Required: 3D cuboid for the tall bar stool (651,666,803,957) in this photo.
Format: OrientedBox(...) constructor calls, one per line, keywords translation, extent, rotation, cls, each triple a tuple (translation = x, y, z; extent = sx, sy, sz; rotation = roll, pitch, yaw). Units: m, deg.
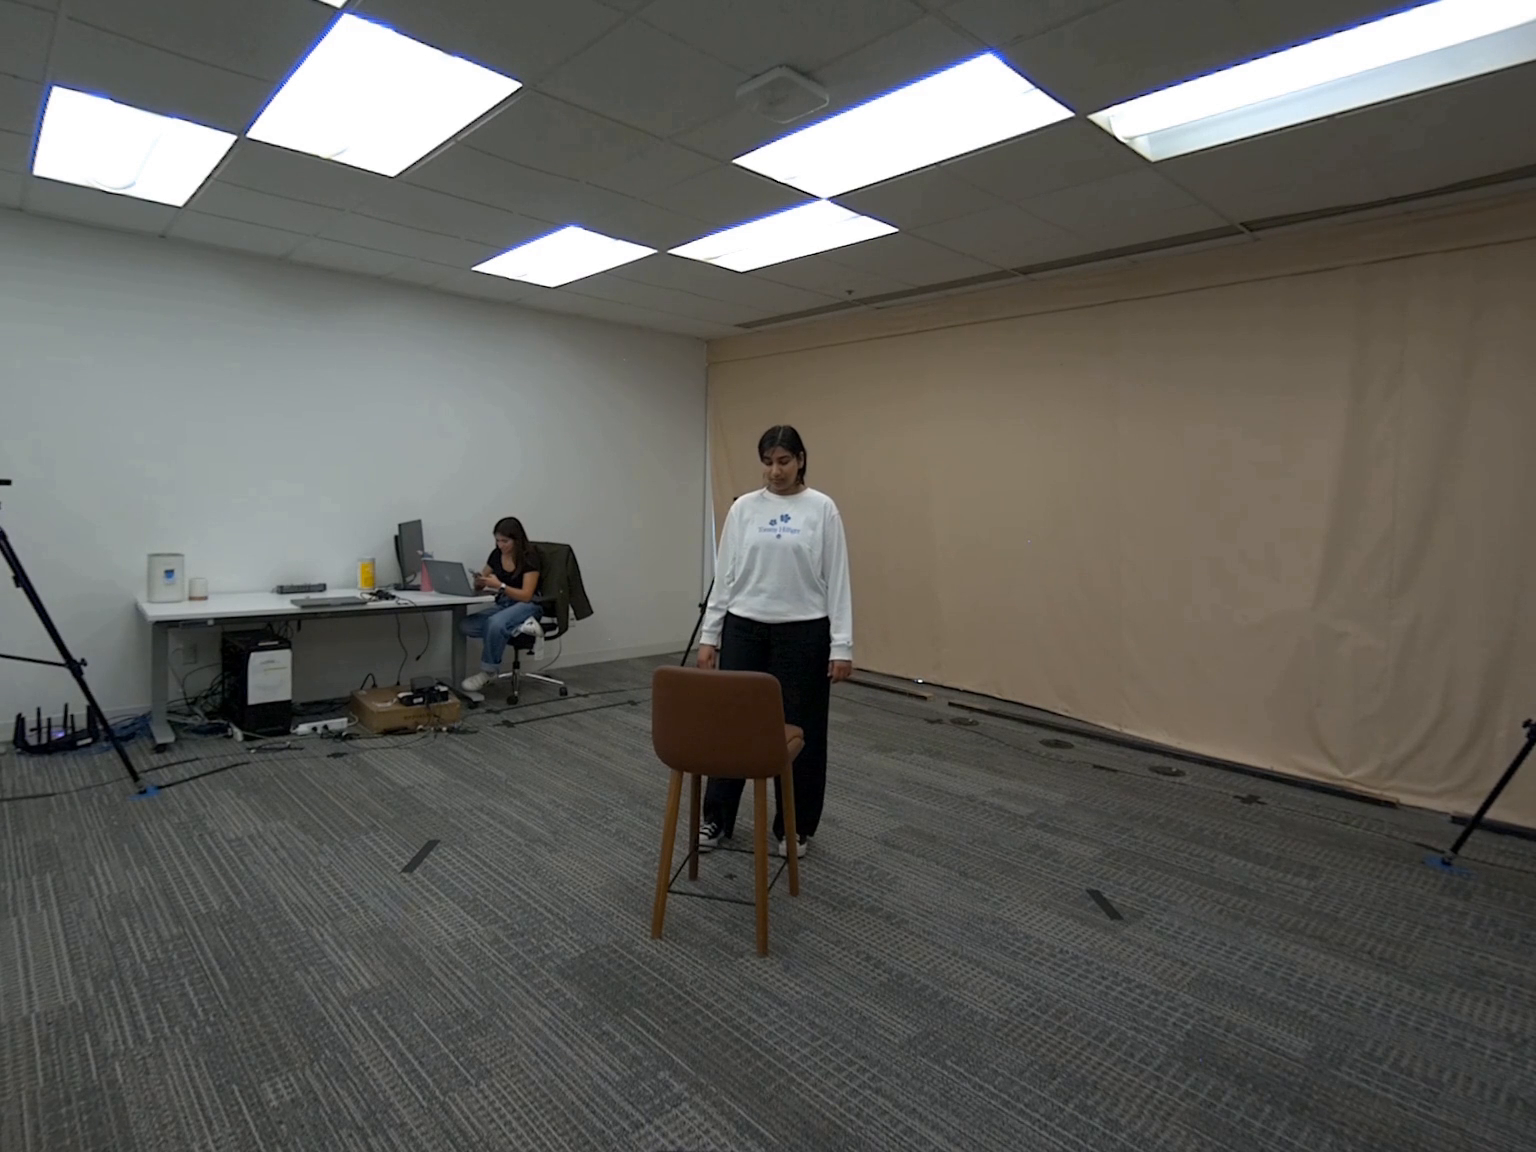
OrientedBox(translation=(-0.140, 0.704, 2.789), extent=(0.462, 0.886, 0.463), rotation=(2, 5, 15), cls="tall bar stool")
